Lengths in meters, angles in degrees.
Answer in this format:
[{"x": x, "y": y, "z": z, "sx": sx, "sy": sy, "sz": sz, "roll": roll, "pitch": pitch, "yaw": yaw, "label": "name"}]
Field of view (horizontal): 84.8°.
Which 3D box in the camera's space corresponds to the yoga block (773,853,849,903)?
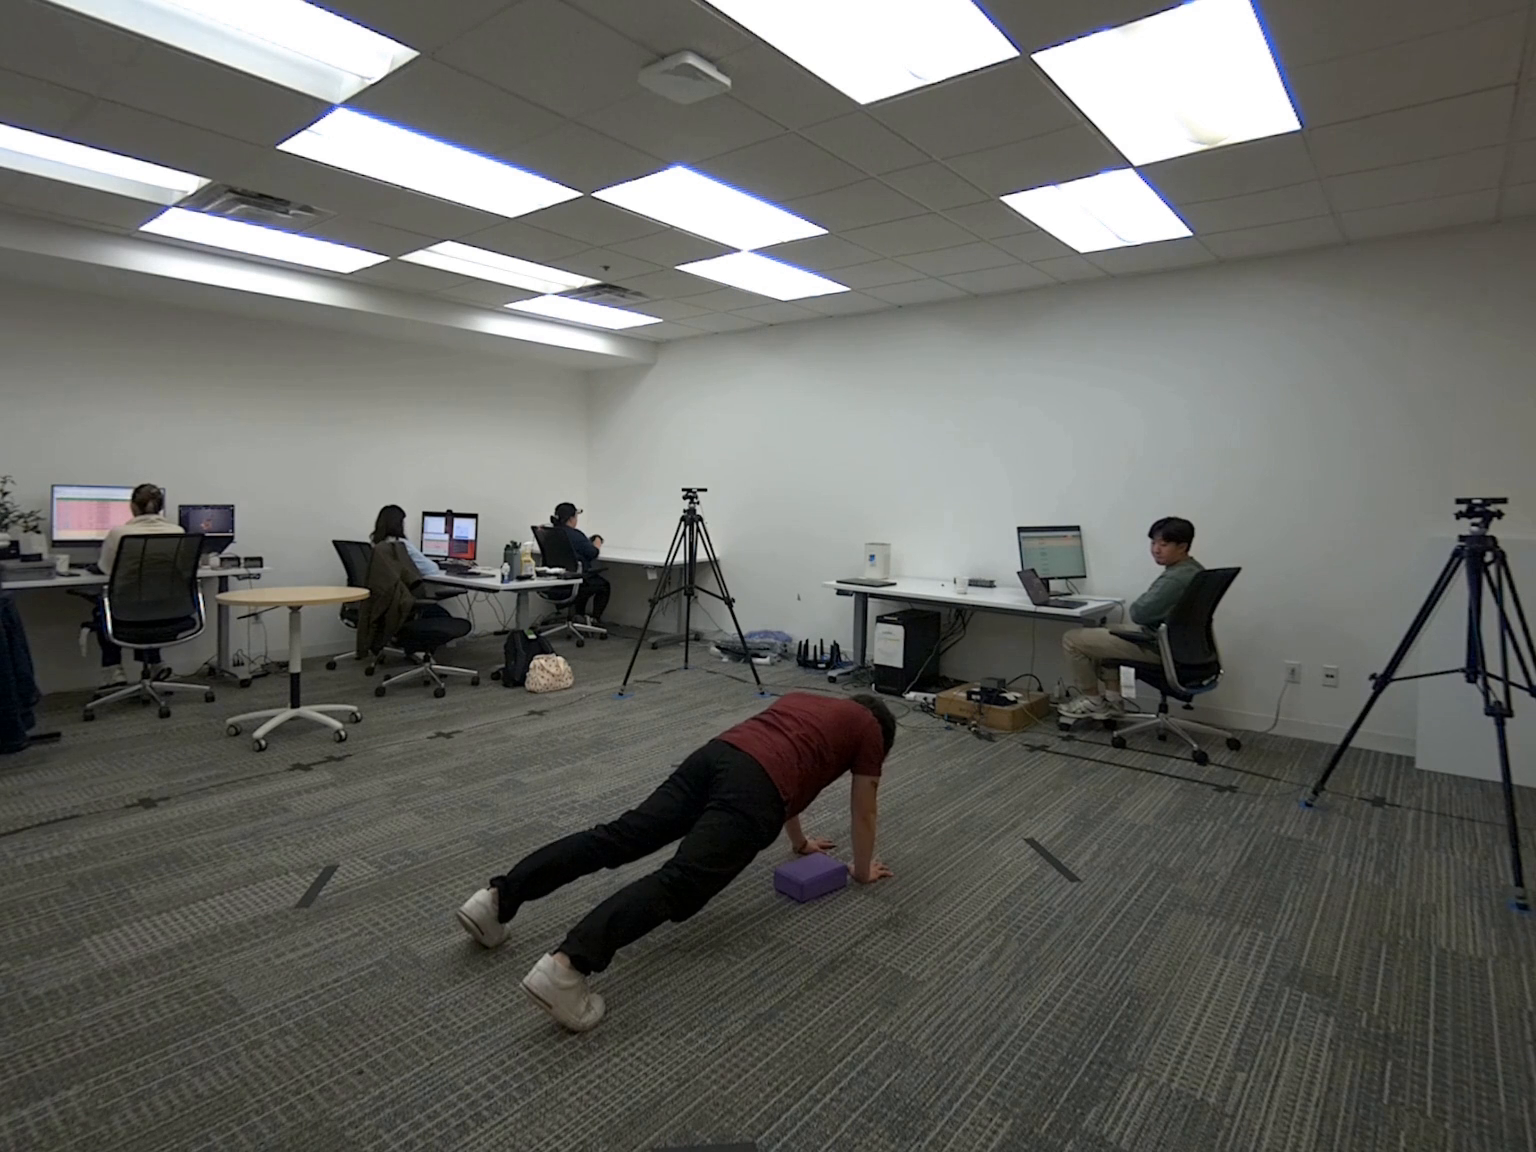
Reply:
[{"x": 0.140, "y": 1.046, "z": 2.979, "sx": 0.222, "sy": 0.076, "sz": 0.154, "roll": -3, "pitch": 6, "yaw": -41, "label": "yoga block"}]
